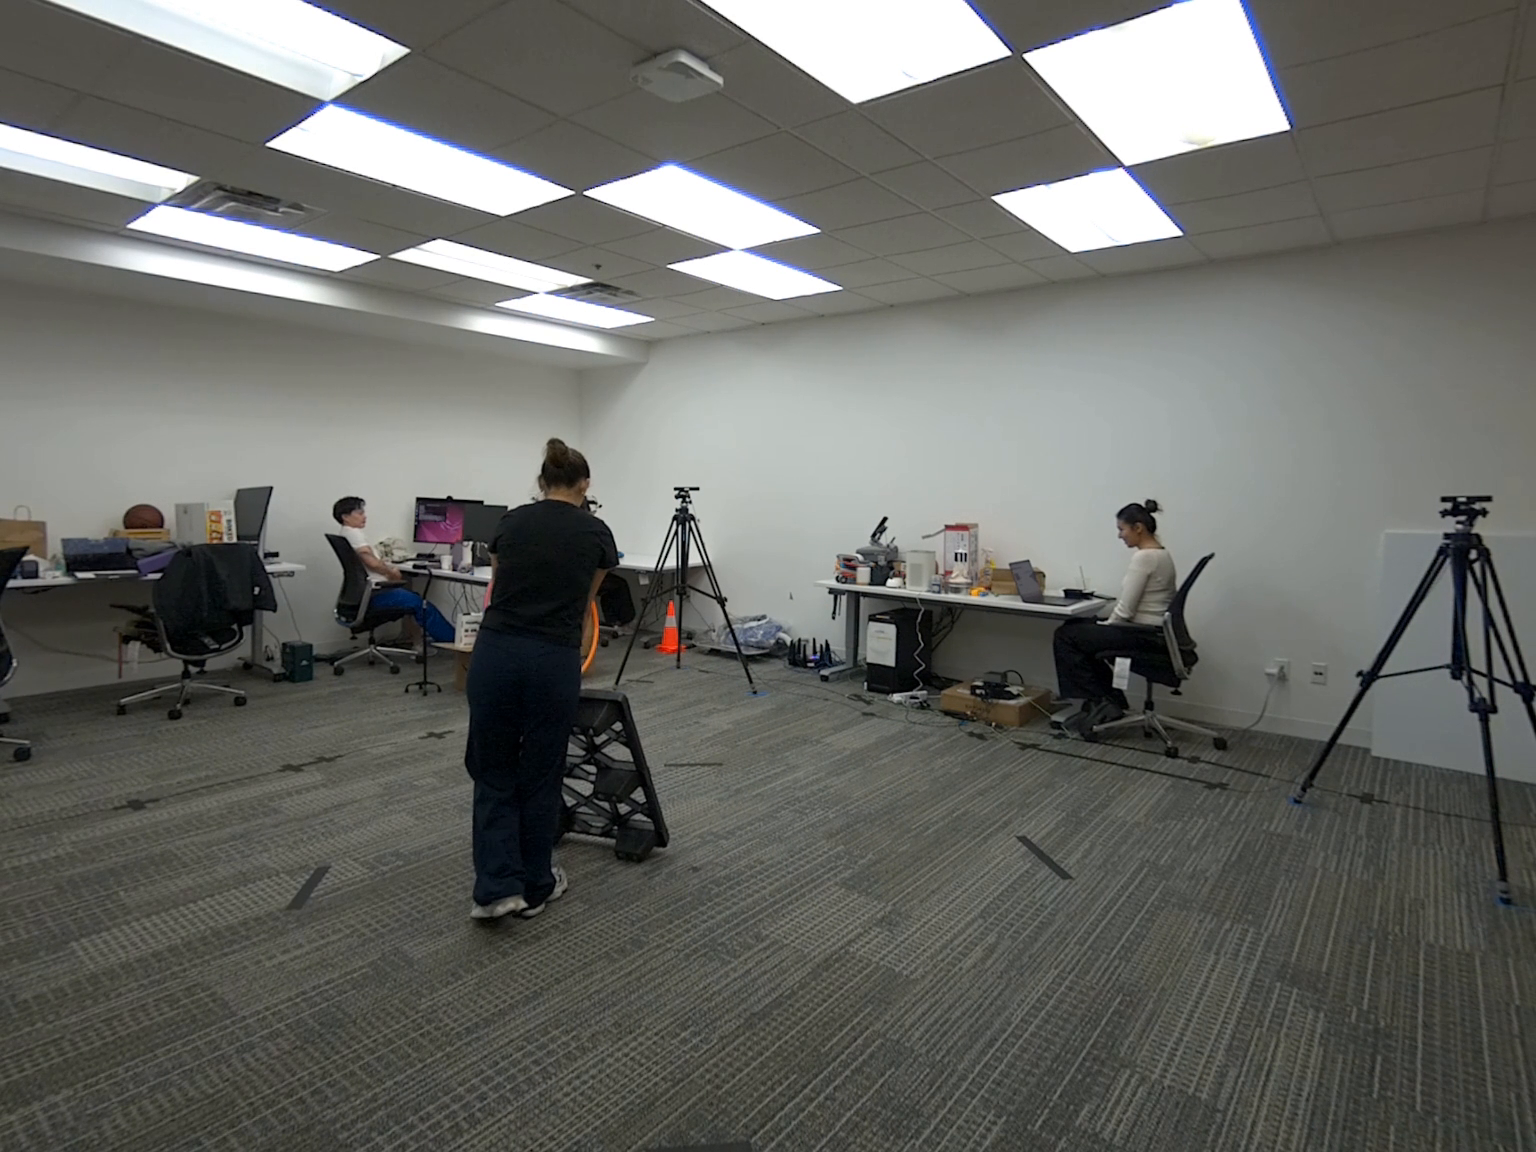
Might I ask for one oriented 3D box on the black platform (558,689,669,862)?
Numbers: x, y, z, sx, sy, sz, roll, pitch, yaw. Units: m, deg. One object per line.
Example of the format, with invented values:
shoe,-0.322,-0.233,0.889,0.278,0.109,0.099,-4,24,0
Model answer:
black platform,-0.712,0.721,3.090,0.617,0.780,0.145,4,36,18
